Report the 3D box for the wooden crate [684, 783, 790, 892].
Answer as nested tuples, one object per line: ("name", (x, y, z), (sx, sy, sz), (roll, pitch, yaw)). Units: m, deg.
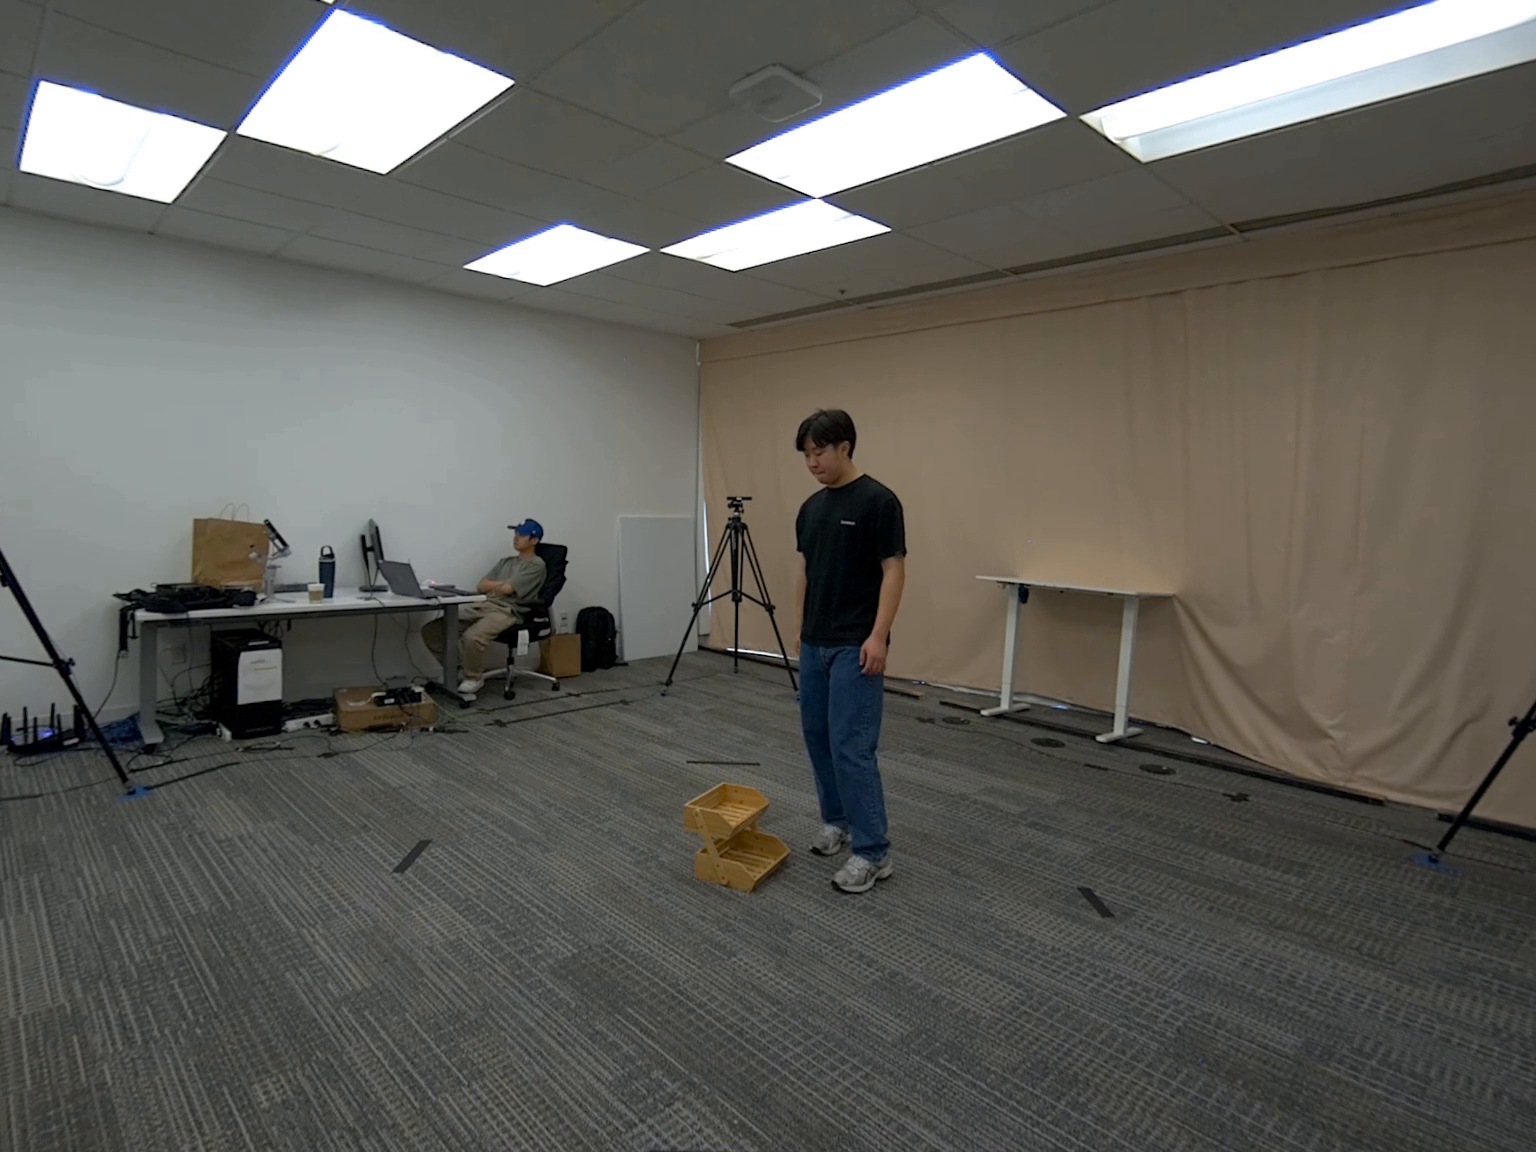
("wooden crate", (-0.106, 0.969, 3.161), (0.308, 0.272, 0.318), (4, 5, 27))
